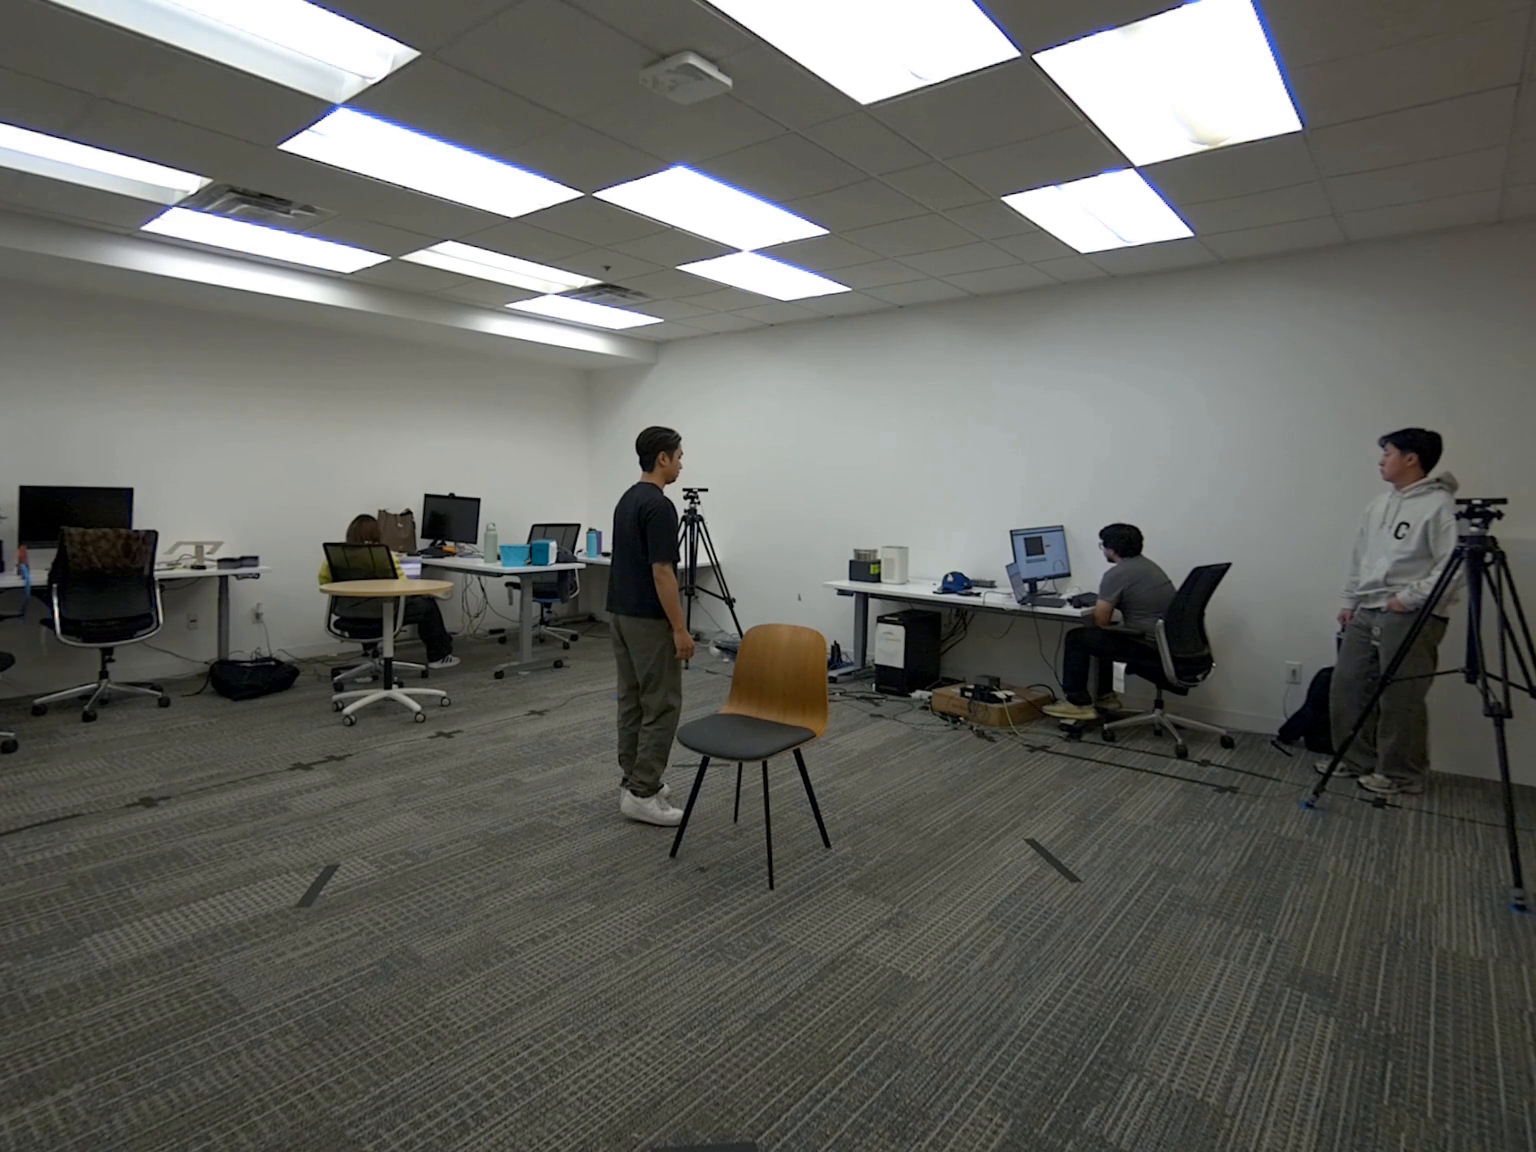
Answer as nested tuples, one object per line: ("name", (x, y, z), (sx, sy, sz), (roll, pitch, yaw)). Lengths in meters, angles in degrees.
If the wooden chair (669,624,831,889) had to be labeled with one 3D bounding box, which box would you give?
("wooden chair", (-0.064, 0.632, 3.231), (0.493, 0.878, 0.507), (4, 0, 32))
